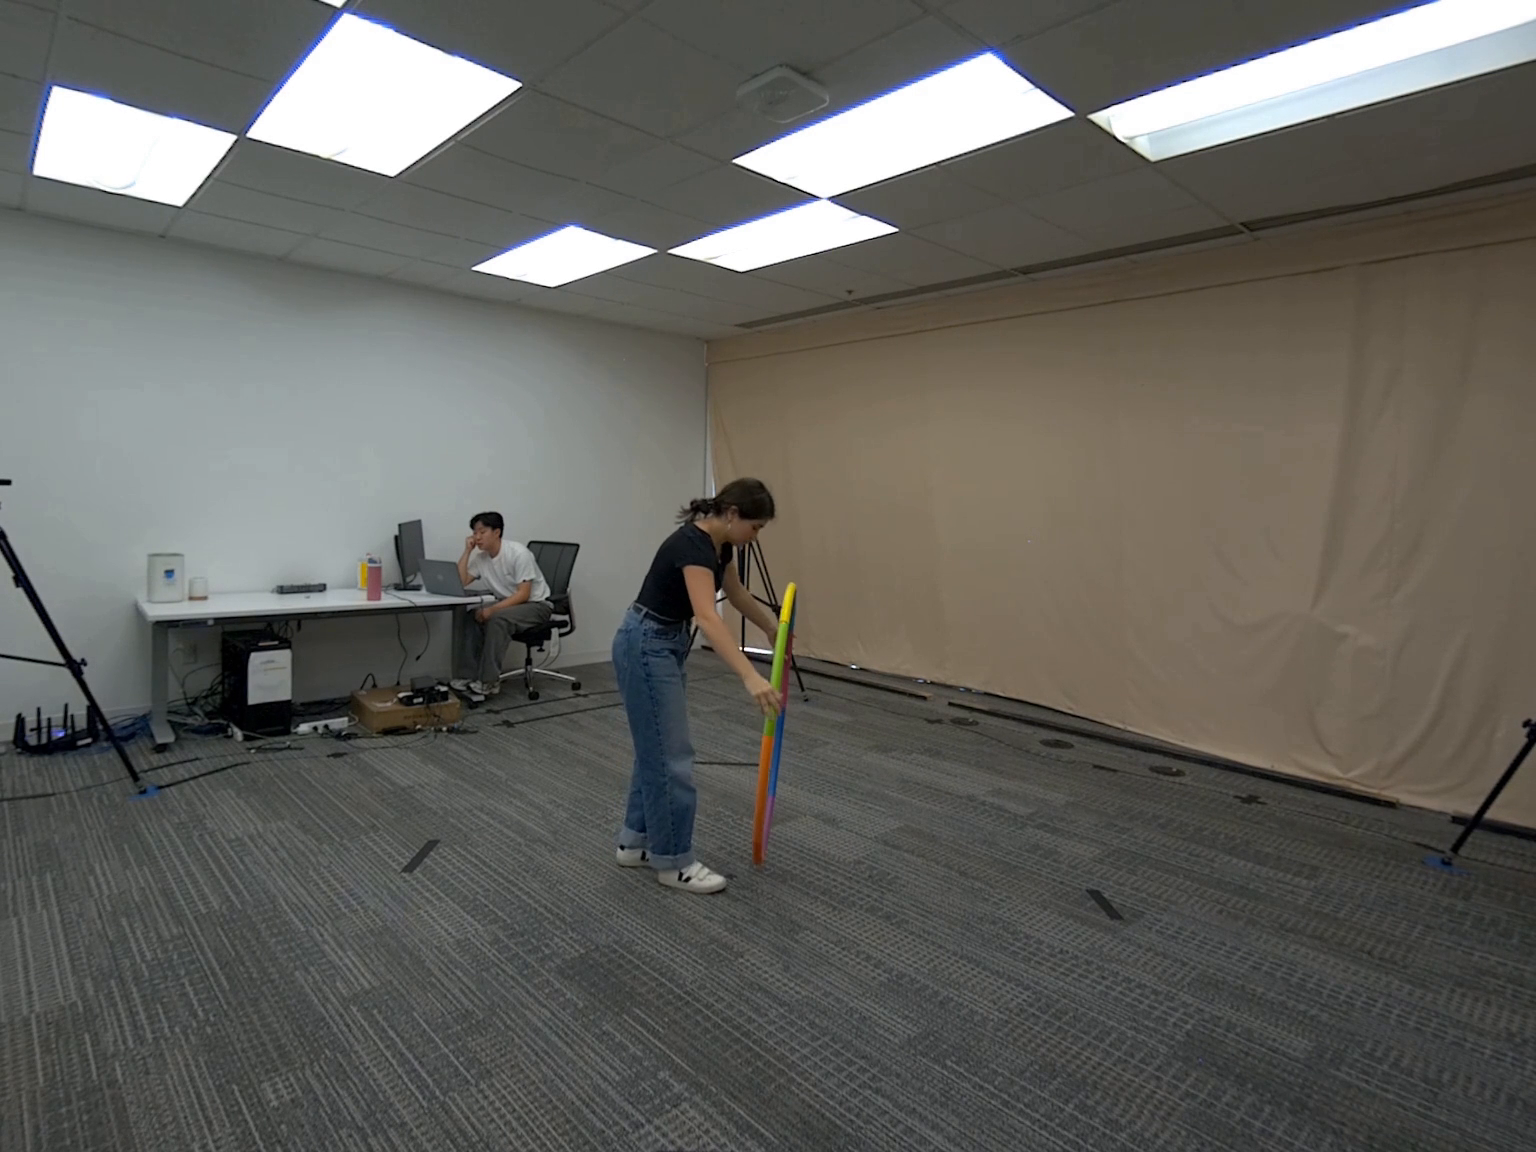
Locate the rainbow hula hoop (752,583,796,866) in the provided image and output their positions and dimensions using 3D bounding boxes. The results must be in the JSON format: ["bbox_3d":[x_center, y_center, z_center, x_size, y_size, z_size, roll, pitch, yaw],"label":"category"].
[{"bbox_3d":[0.021,0.522,3.039,0.036,0.976,0.976,6,5,5],"label":"rainbow hula hoop"}]
